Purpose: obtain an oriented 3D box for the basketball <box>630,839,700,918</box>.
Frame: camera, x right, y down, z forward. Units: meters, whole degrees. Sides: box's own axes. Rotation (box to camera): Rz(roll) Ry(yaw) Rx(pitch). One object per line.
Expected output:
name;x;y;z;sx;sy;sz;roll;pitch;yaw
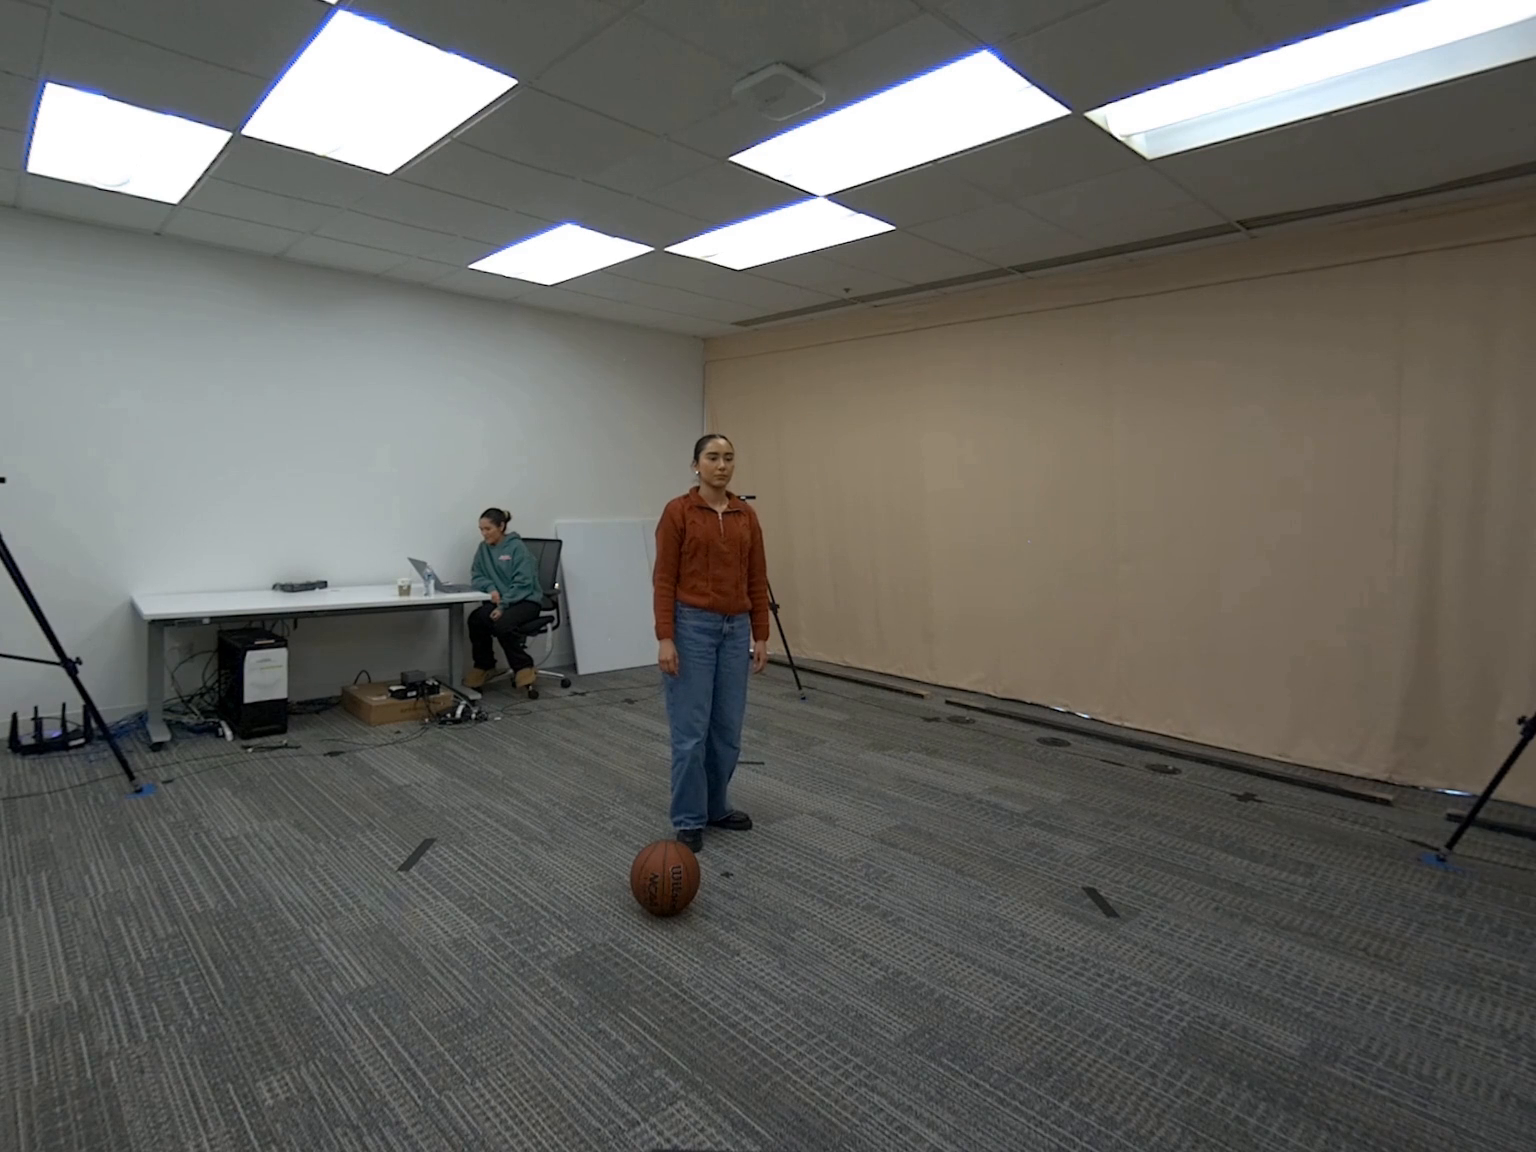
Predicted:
basketball;-0.356;1.005;2.819;0.236;0.235;0.237;1;4;-1
